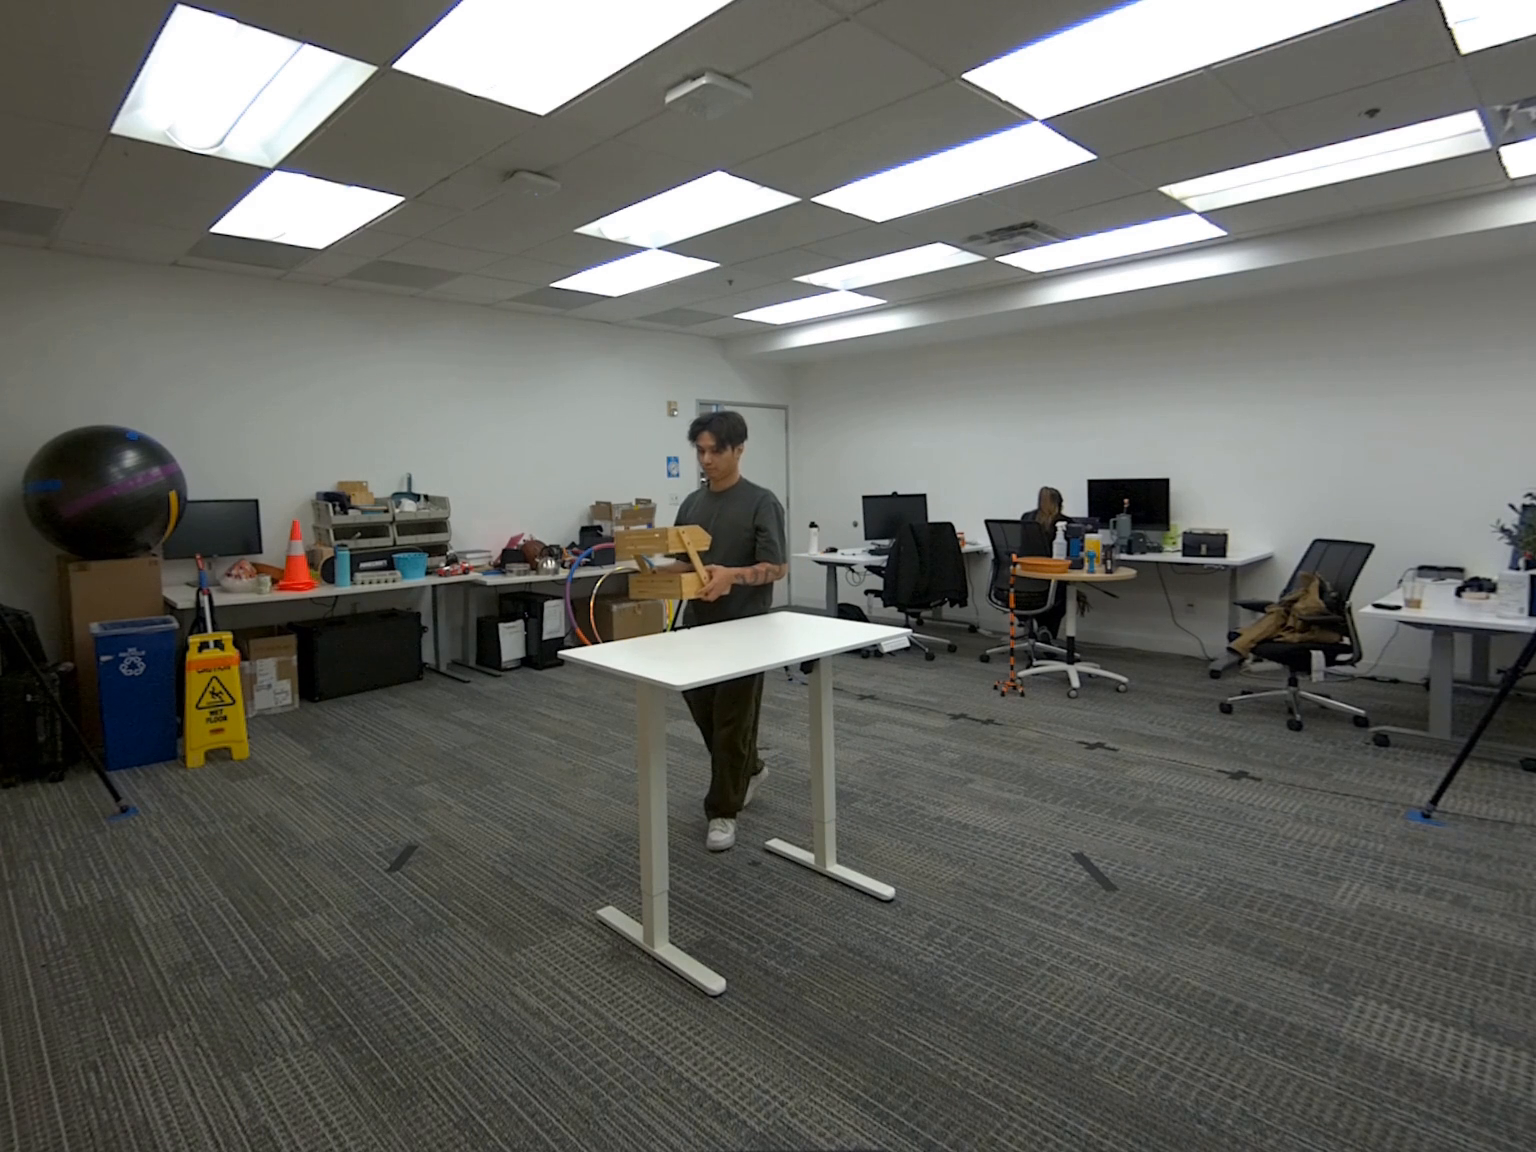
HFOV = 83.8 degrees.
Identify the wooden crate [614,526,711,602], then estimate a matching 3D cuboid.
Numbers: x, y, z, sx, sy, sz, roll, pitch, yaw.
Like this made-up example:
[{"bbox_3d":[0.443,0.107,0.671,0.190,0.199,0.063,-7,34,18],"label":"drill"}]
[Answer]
[{"bbox_3d":[-0.350,-0.055,3.189,0.333,0.273,0.294,-2,3,43],"label":"wooden crate"}]
